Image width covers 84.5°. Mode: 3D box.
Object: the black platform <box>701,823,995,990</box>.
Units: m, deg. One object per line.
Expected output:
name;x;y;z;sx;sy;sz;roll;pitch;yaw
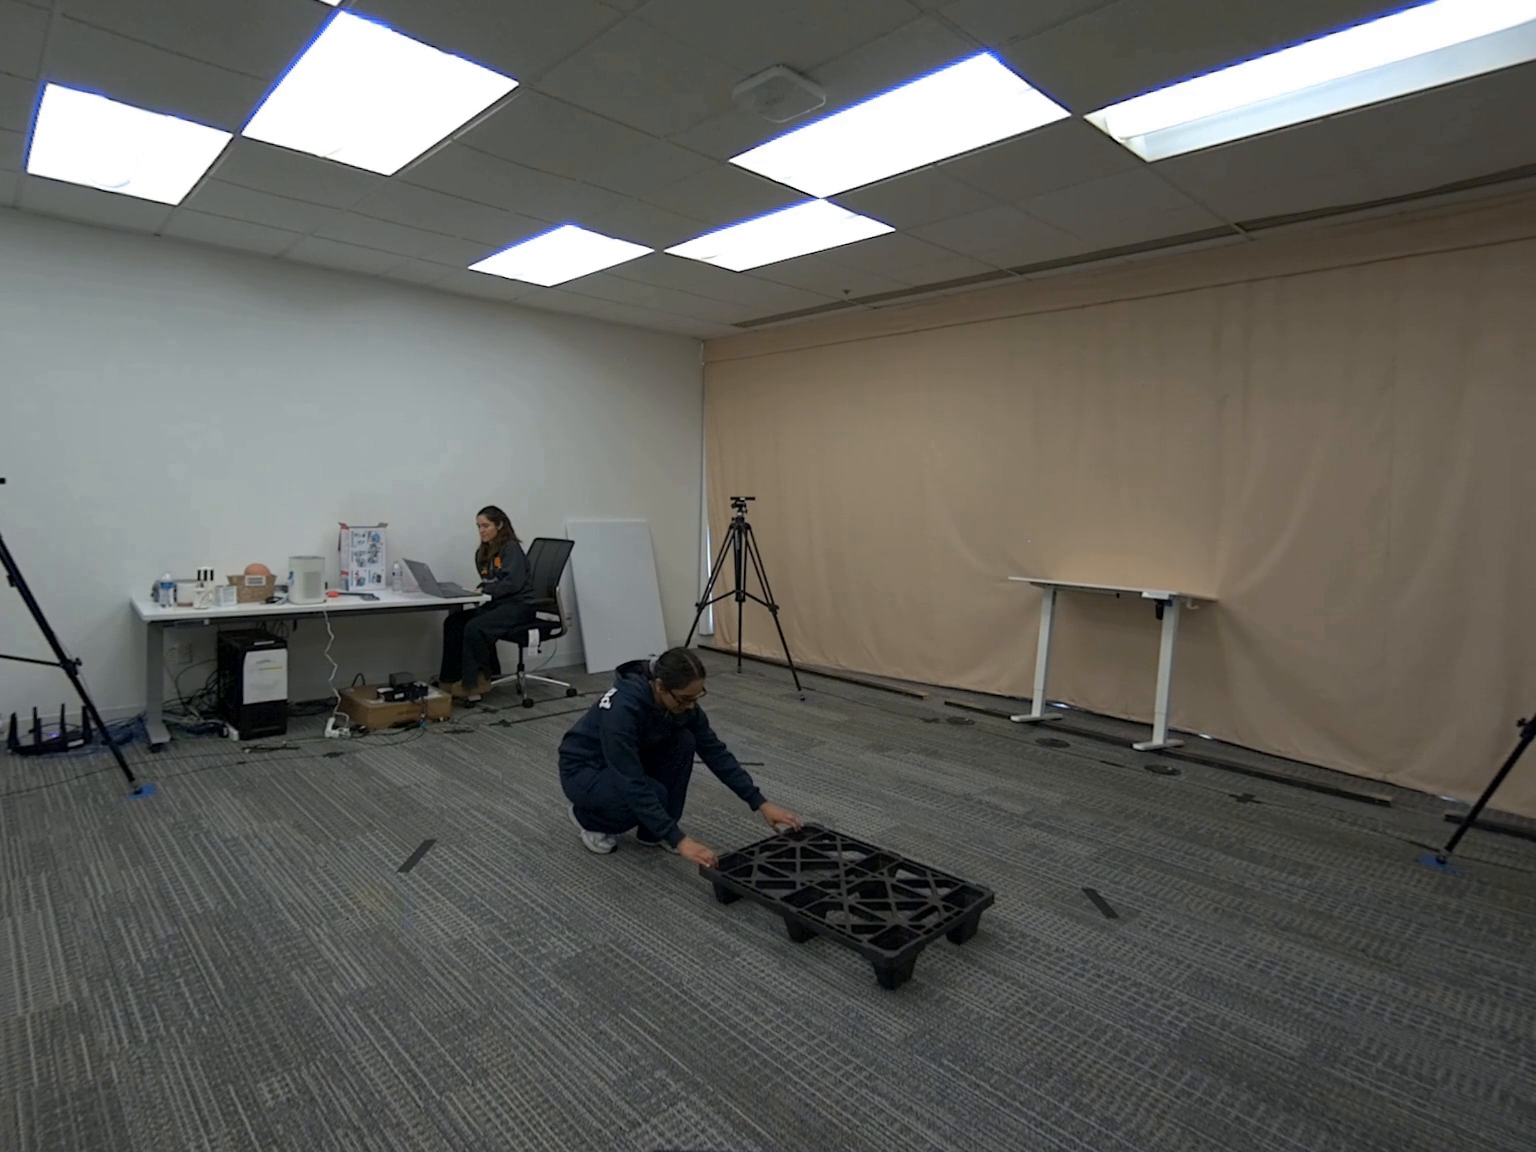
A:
black platform;0.239;1.074;2.823;0.826;0.143;0.591;7;7;44
